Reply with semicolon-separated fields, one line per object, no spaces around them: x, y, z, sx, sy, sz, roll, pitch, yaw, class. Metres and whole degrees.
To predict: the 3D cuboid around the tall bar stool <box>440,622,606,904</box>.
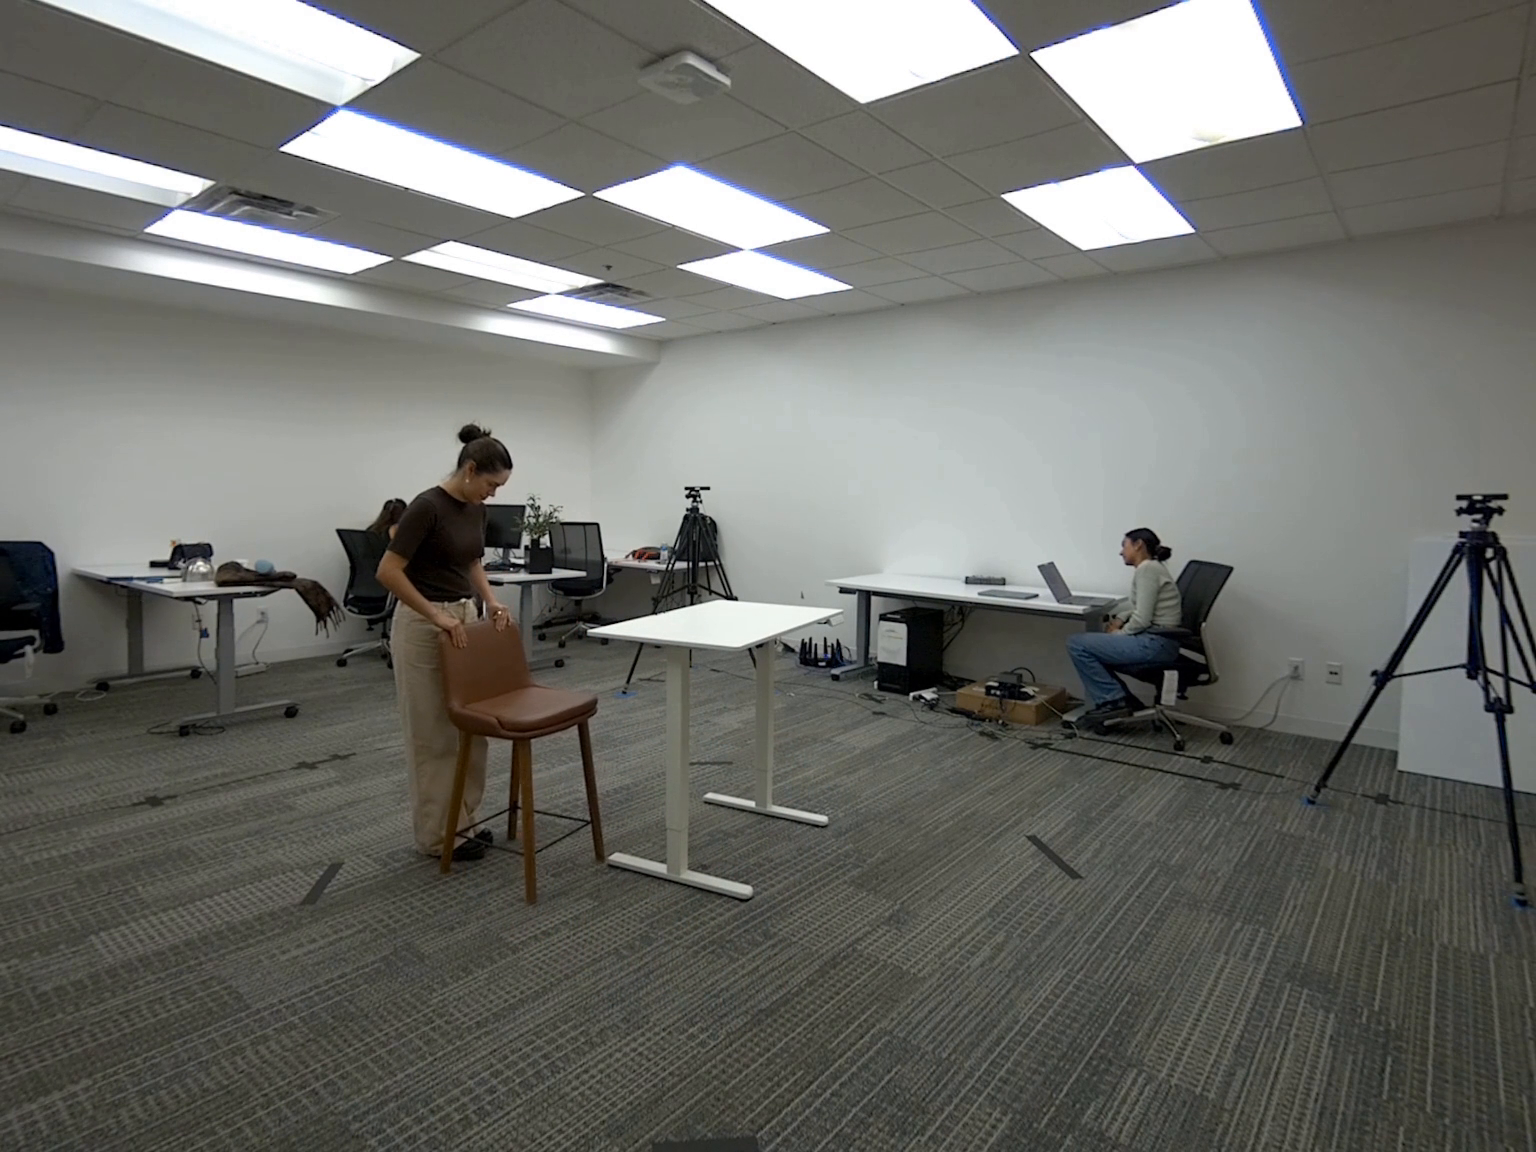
-0.908;0.618;3.082;0.480;0.888;0.445;0;2;28;tall bar stool
